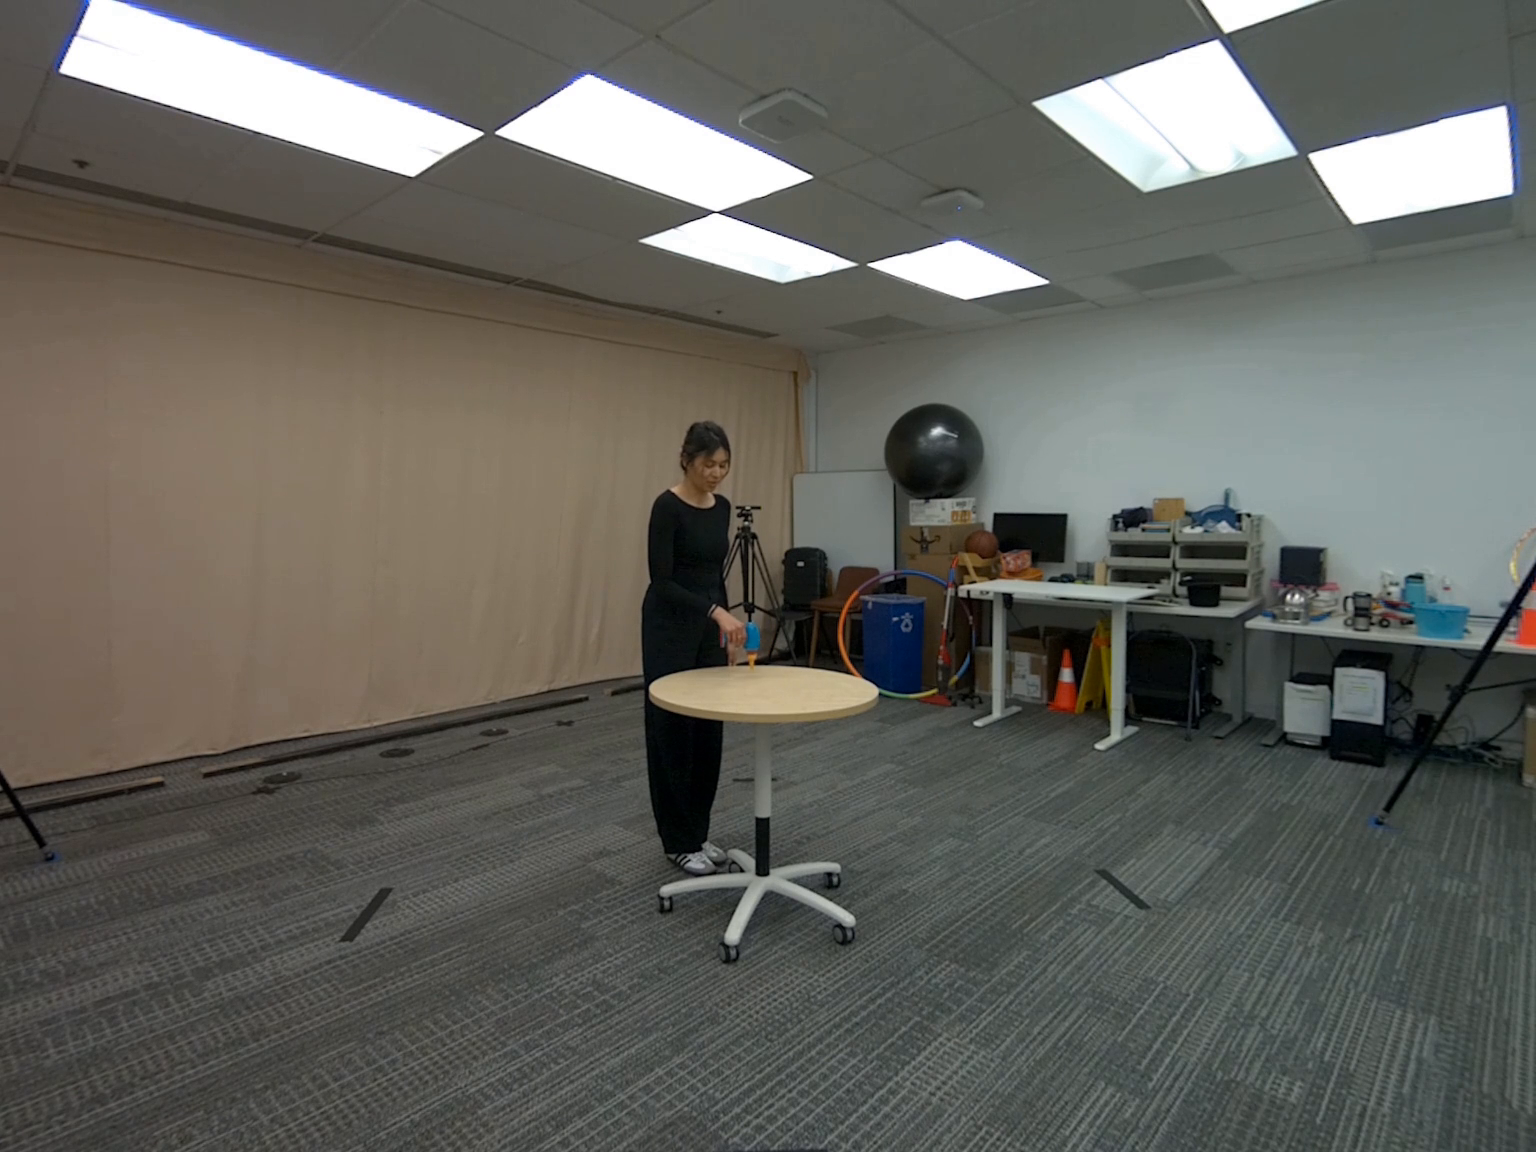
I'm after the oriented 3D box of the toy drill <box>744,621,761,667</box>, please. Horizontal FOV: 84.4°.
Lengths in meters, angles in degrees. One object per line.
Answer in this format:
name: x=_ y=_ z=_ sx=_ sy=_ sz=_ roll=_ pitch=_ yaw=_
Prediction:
toy drill: x=-0.098 y=0.247 z=3.021 sx=0.145 sy=0.168 sz=0.062 roll=3 pitch=13 yaw=-4
